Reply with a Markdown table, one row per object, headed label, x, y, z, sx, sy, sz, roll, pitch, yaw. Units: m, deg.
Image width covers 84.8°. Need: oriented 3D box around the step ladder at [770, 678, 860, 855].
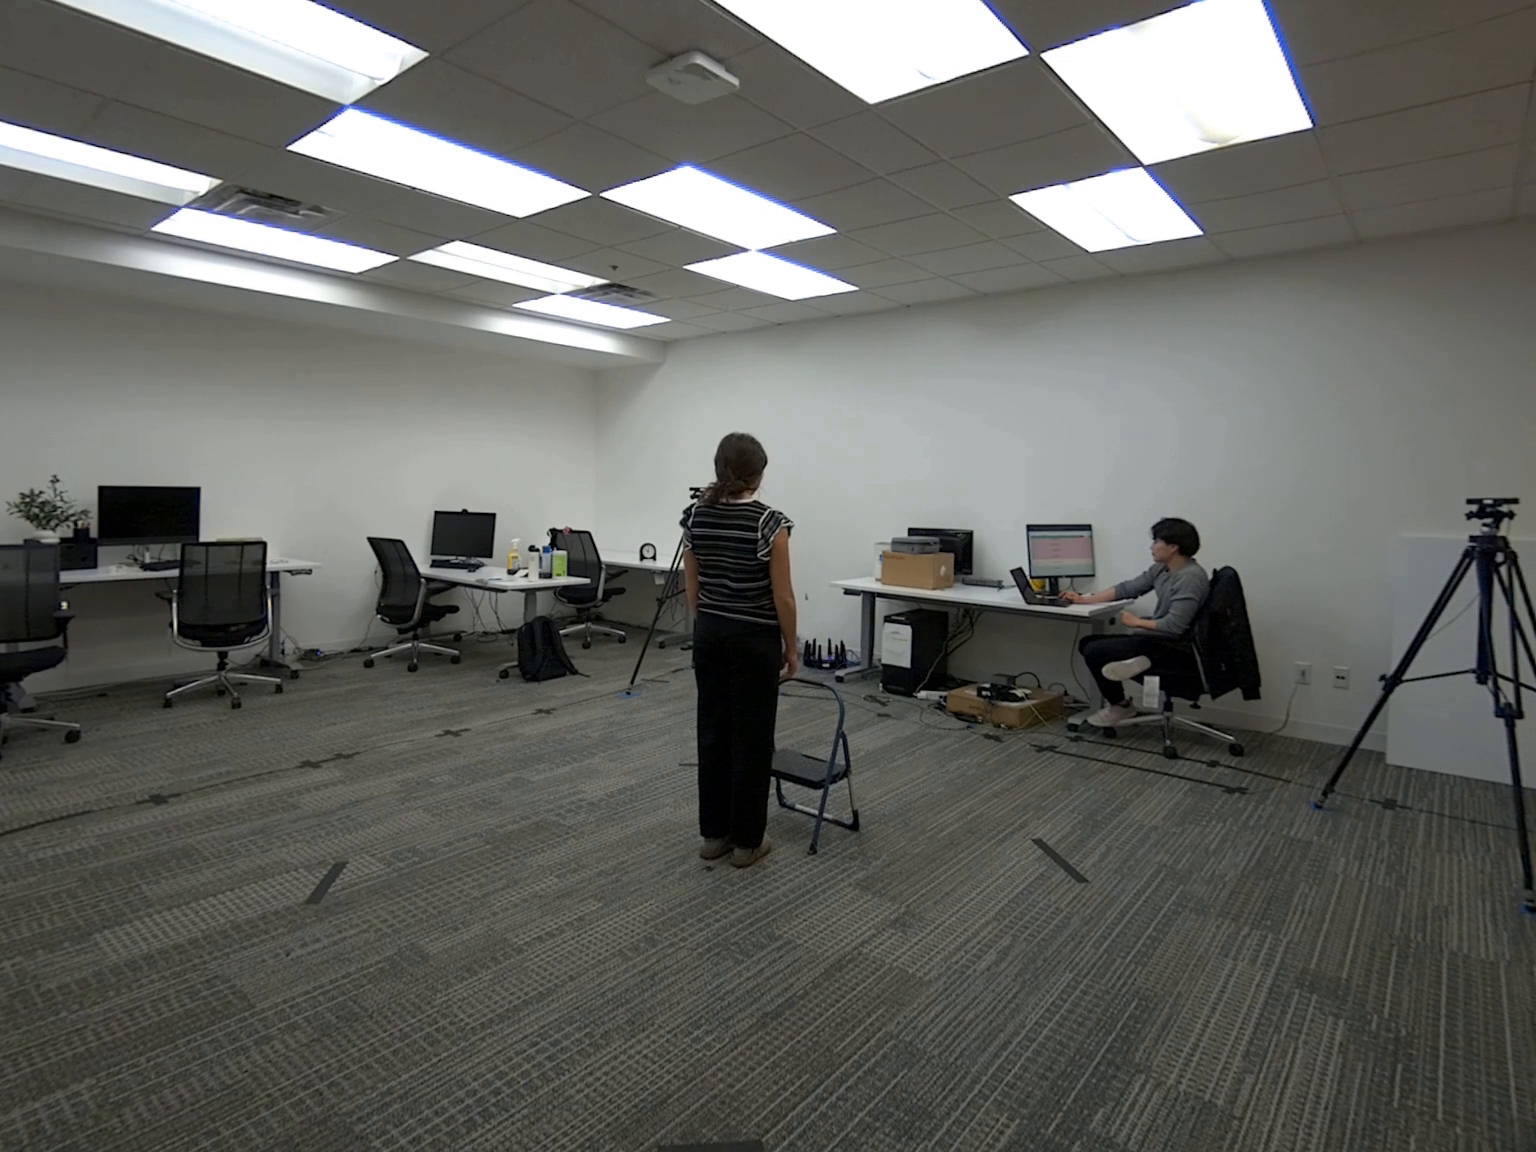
| label | x | y | z | sx | sy | sz | roll | pitch | yaw |
| --- | --- | --- | --- | --- | --- | --- | --- | --- | --- |
| step ladder | 0.110 | 0.733 | 3.492 | 0.445 | 0.604 | 0.339 | 4 | 5 | 39 |
